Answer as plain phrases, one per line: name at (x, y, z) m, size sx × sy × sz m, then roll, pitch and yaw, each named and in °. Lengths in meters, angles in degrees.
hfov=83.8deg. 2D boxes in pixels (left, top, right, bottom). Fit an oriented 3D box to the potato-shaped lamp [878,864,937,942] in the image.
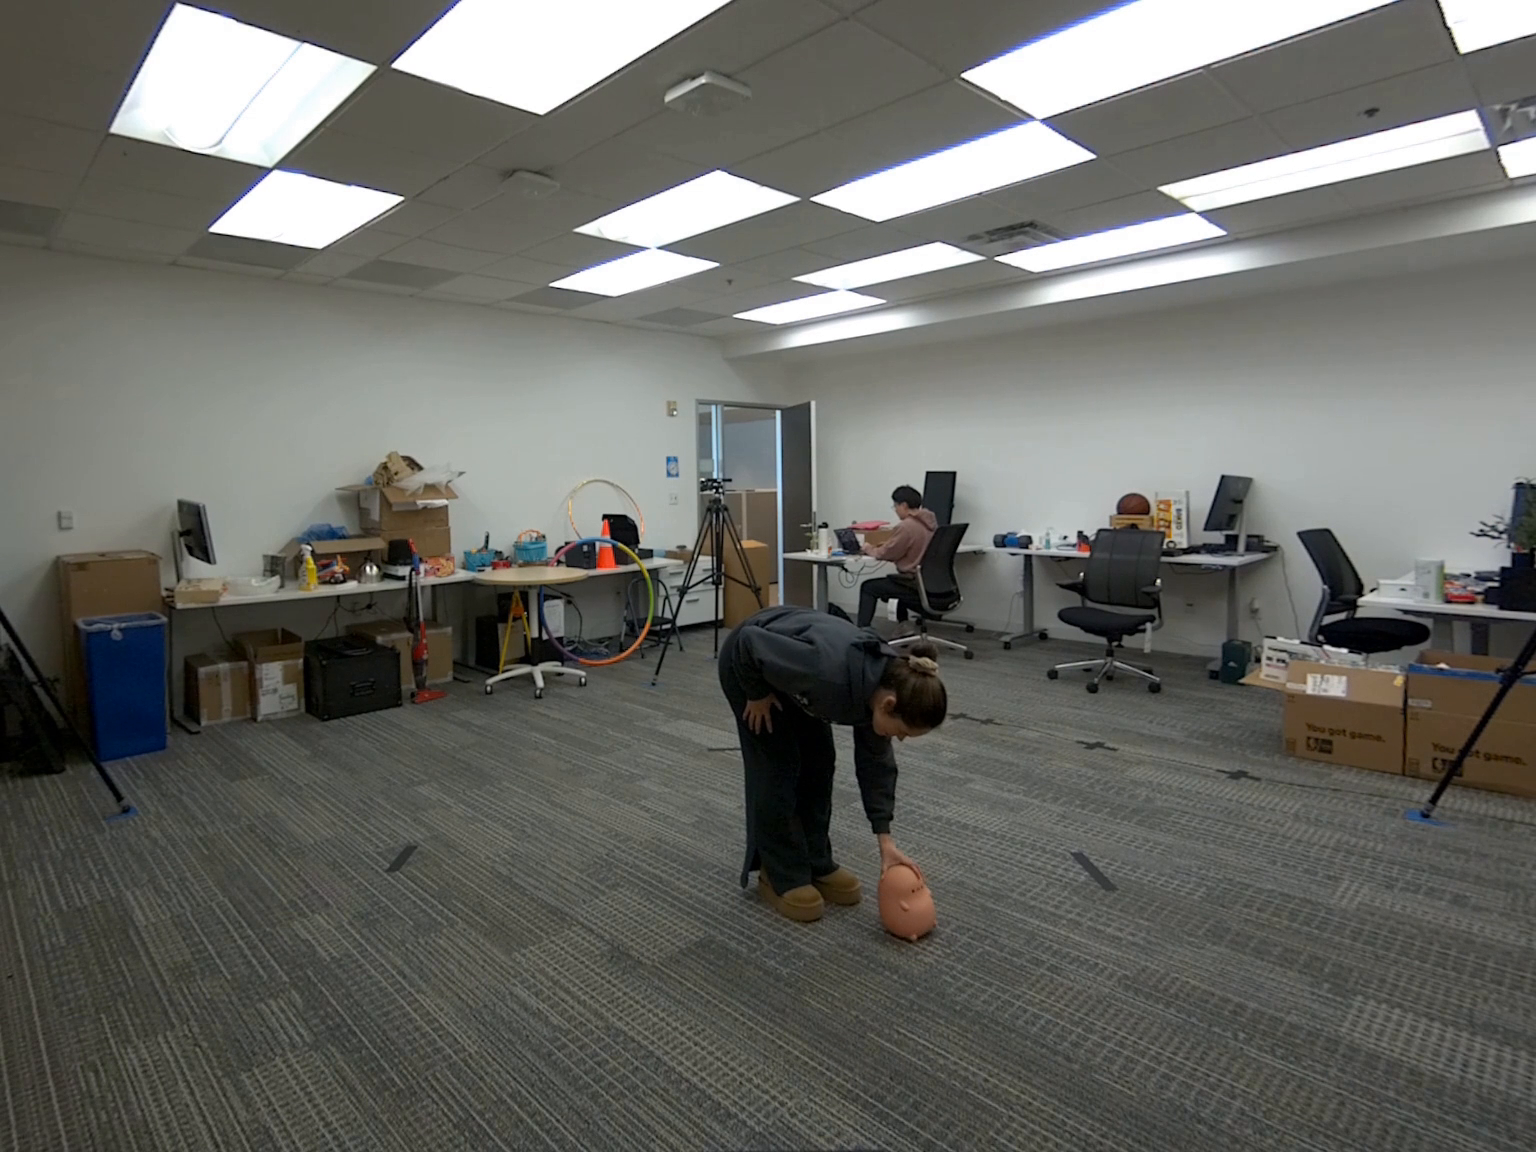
potato-shaped lamp at (0.425, 0.992, 2.617) m, size 0.161 × 0.197 × 0.176 m, roll -11°, pitch 4°, yaw -34°
